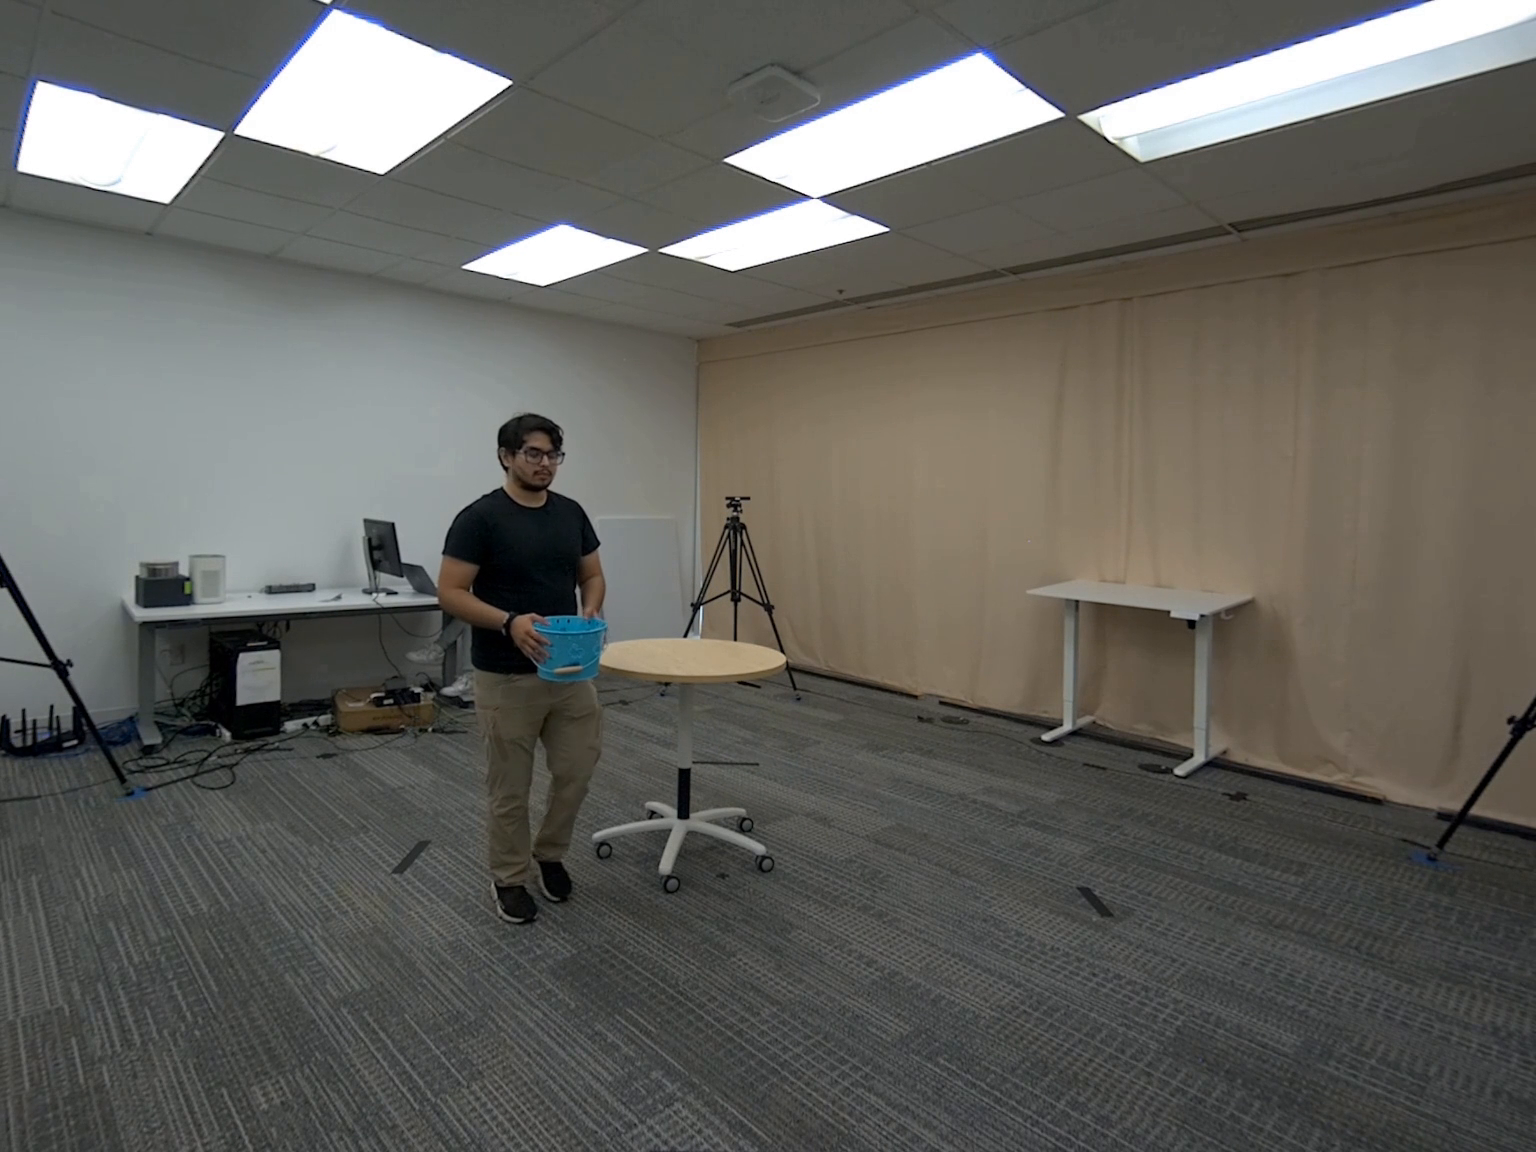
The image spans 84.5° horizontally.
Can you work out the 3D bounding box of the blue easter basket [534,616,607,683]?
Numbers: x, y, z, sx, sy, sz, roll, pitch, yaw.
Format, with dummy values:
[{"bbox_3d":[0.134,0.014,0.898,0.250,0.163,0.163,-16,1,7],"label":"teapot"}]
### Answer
[{"bbox_3d":[-0.622,0.229,2.520,0.243,0.155,0.245,-1,8,-1],"label":"blue easter basket"}]
